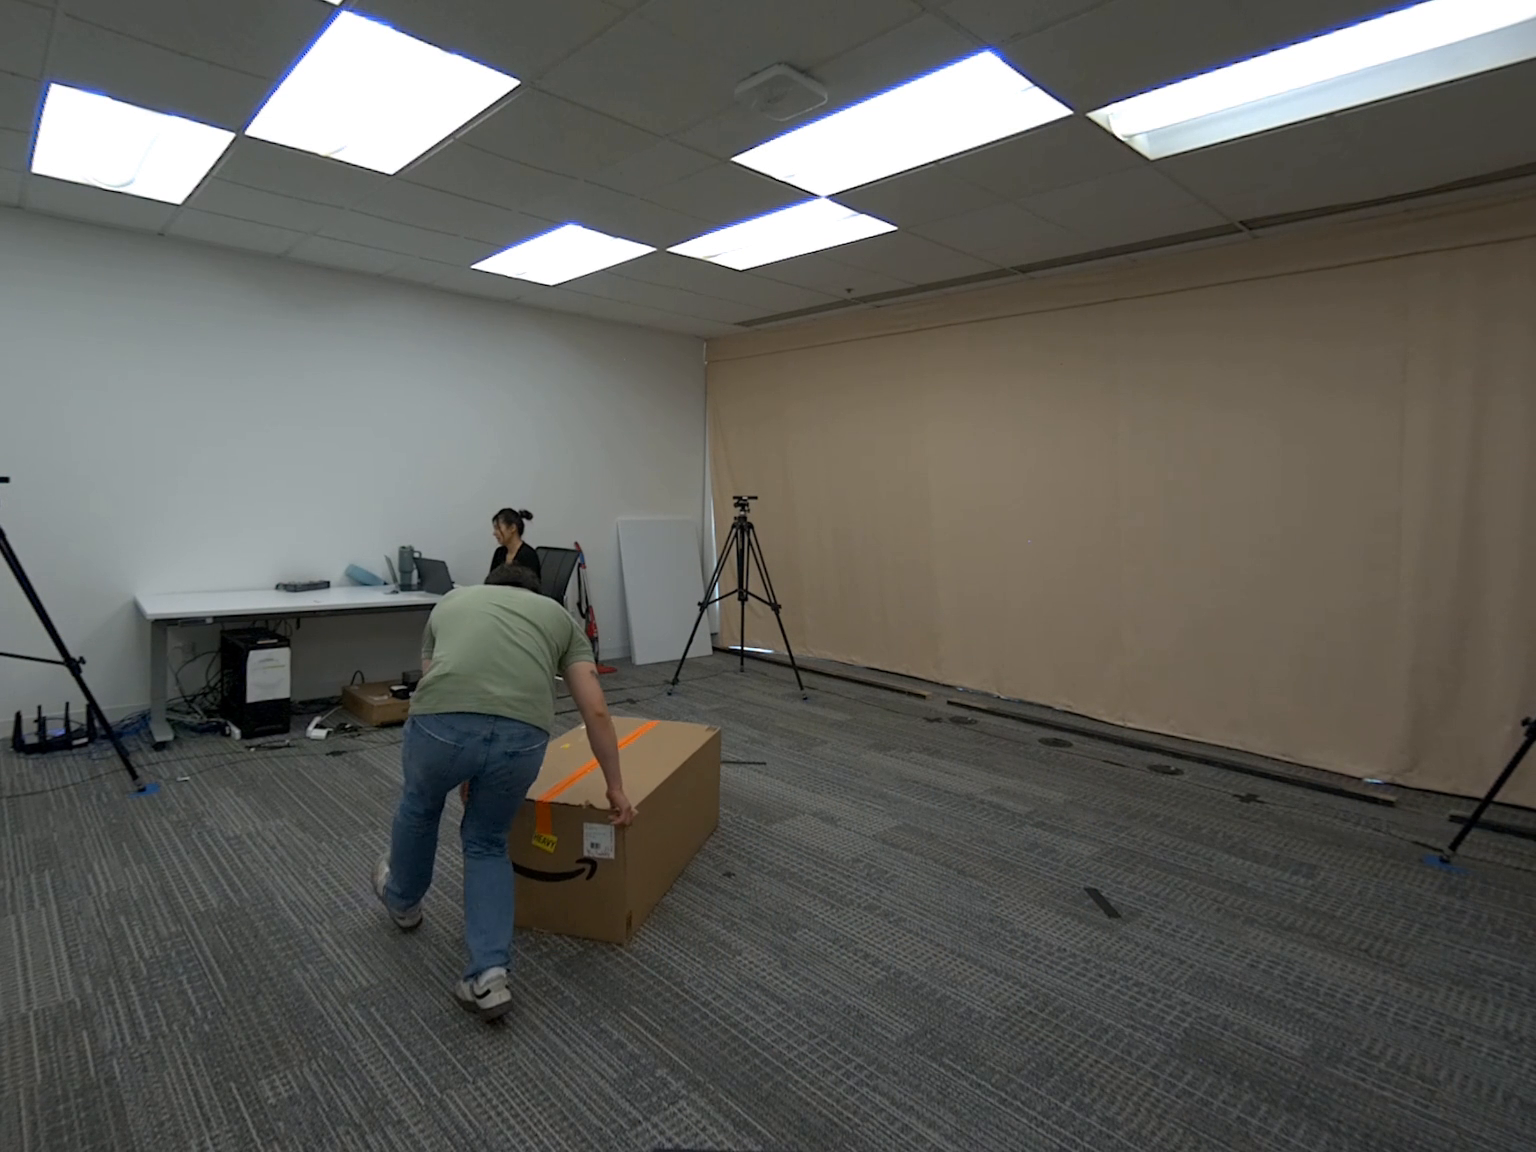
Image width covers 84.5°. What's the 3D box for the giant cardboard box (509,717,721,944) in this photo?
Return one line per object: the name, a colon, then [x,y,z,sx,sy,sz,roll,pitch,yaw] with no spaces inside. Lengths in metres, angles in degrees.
giant cardboard box: [-0.595,0.875,3.154,0.584,0.425,1.017,2,5,14]
